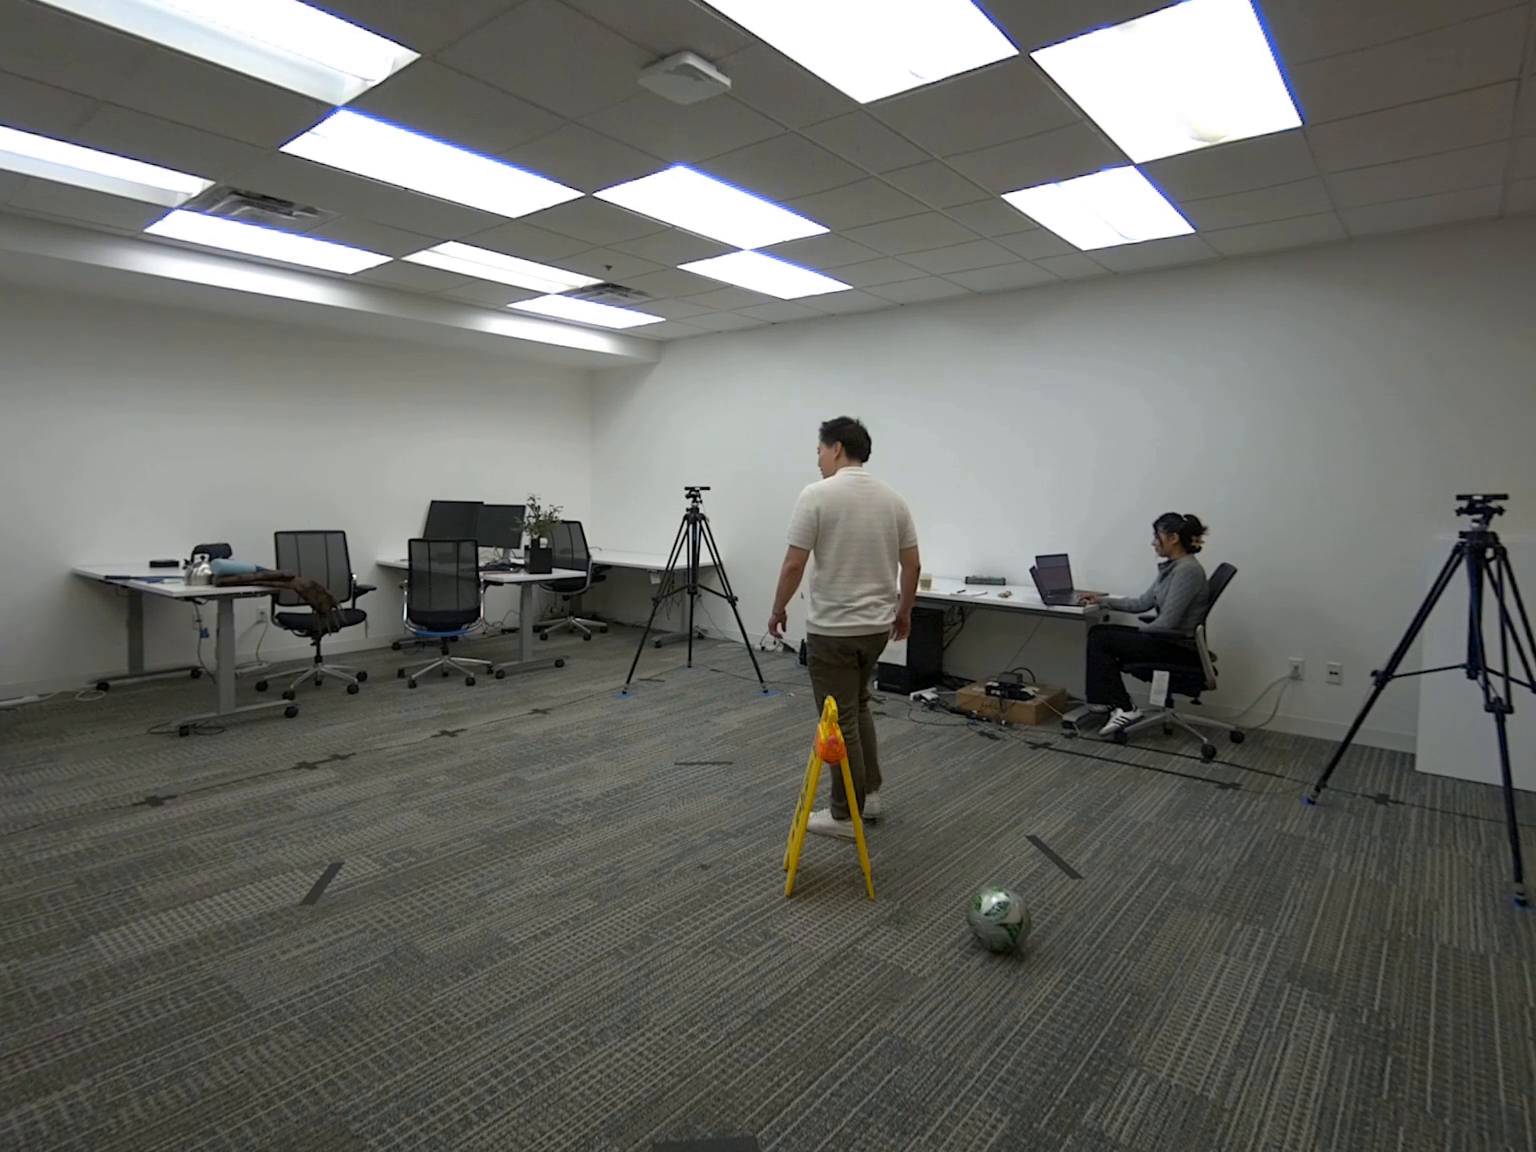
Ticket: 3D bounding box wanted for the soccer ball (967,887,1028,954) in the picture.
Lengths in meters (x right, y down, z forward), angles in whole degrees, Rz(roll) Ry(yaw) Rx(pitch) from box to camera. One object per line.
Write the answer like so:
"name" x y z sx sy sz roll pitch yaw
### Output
"soccer ball" 0.696 1.047 2.609 0.187 0.187 0.188 0 4 -2
